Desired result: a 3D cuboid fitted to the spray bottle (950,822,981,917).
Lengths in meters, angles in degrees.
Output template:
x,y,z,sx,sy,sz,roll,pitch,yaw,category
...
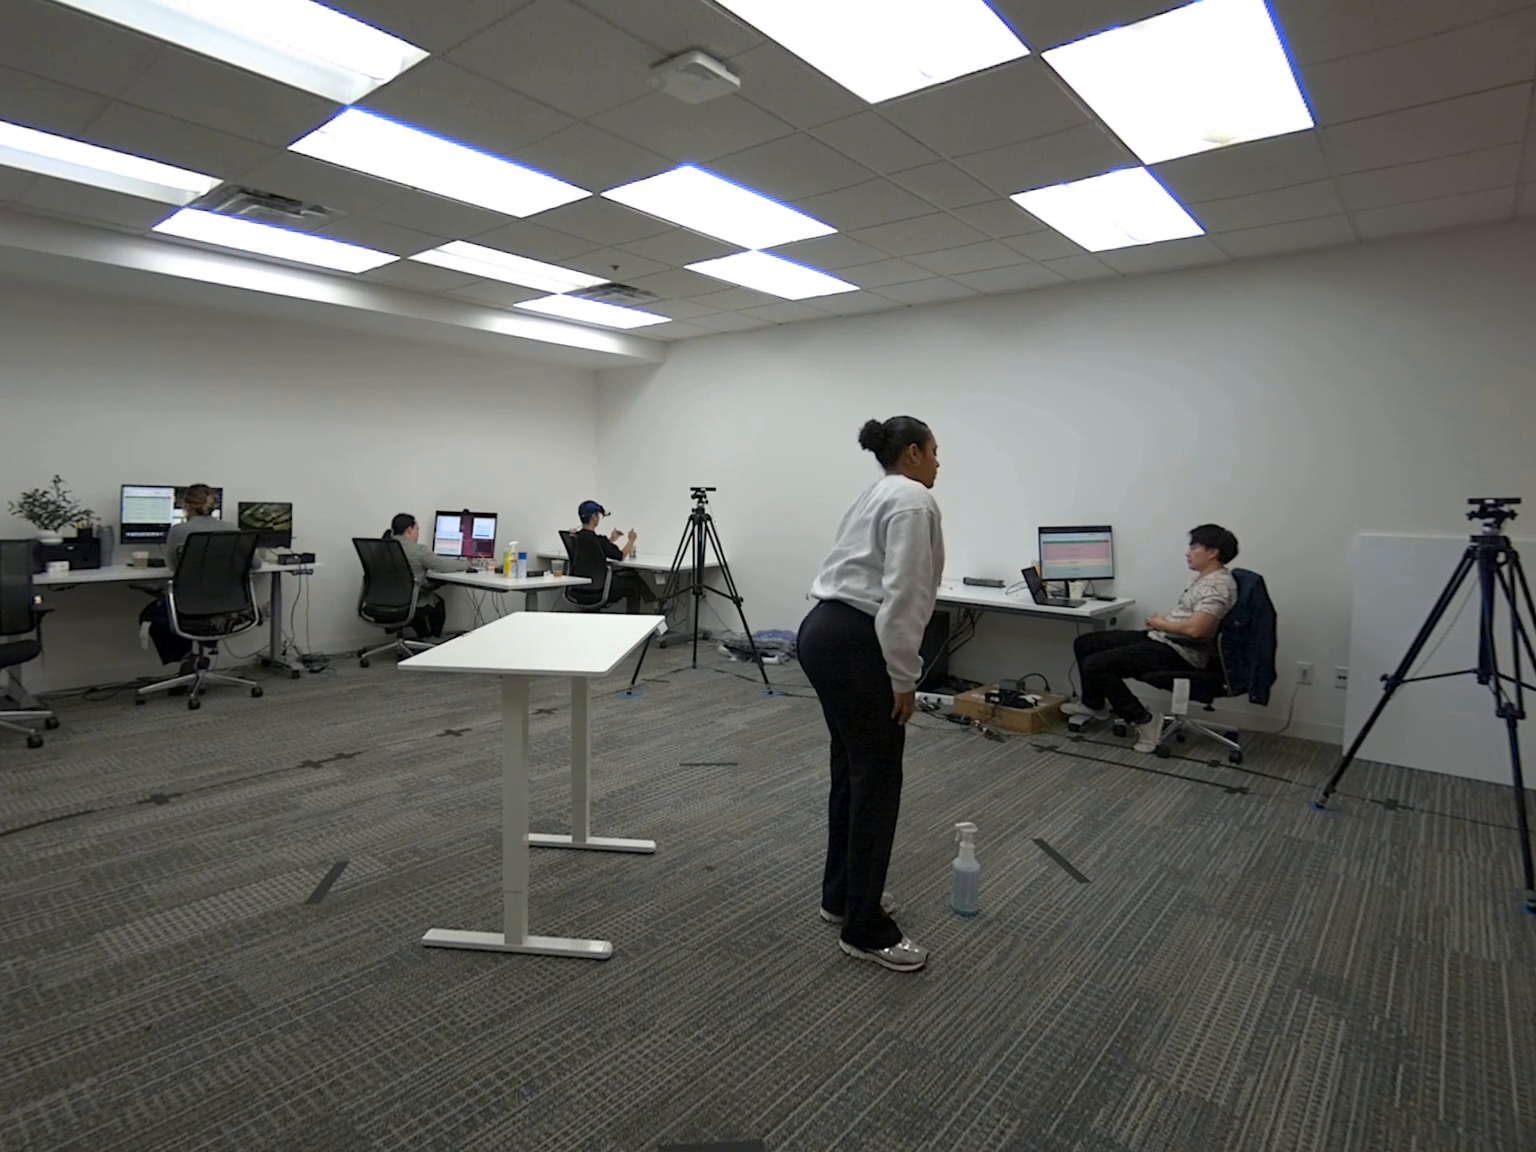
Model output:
x,y,z,sx,sy,sz,roll,pitch,yaw,category
0.656,0.973,2.837,0.090,0.296,0.087,-1,4,0,spray bottle
